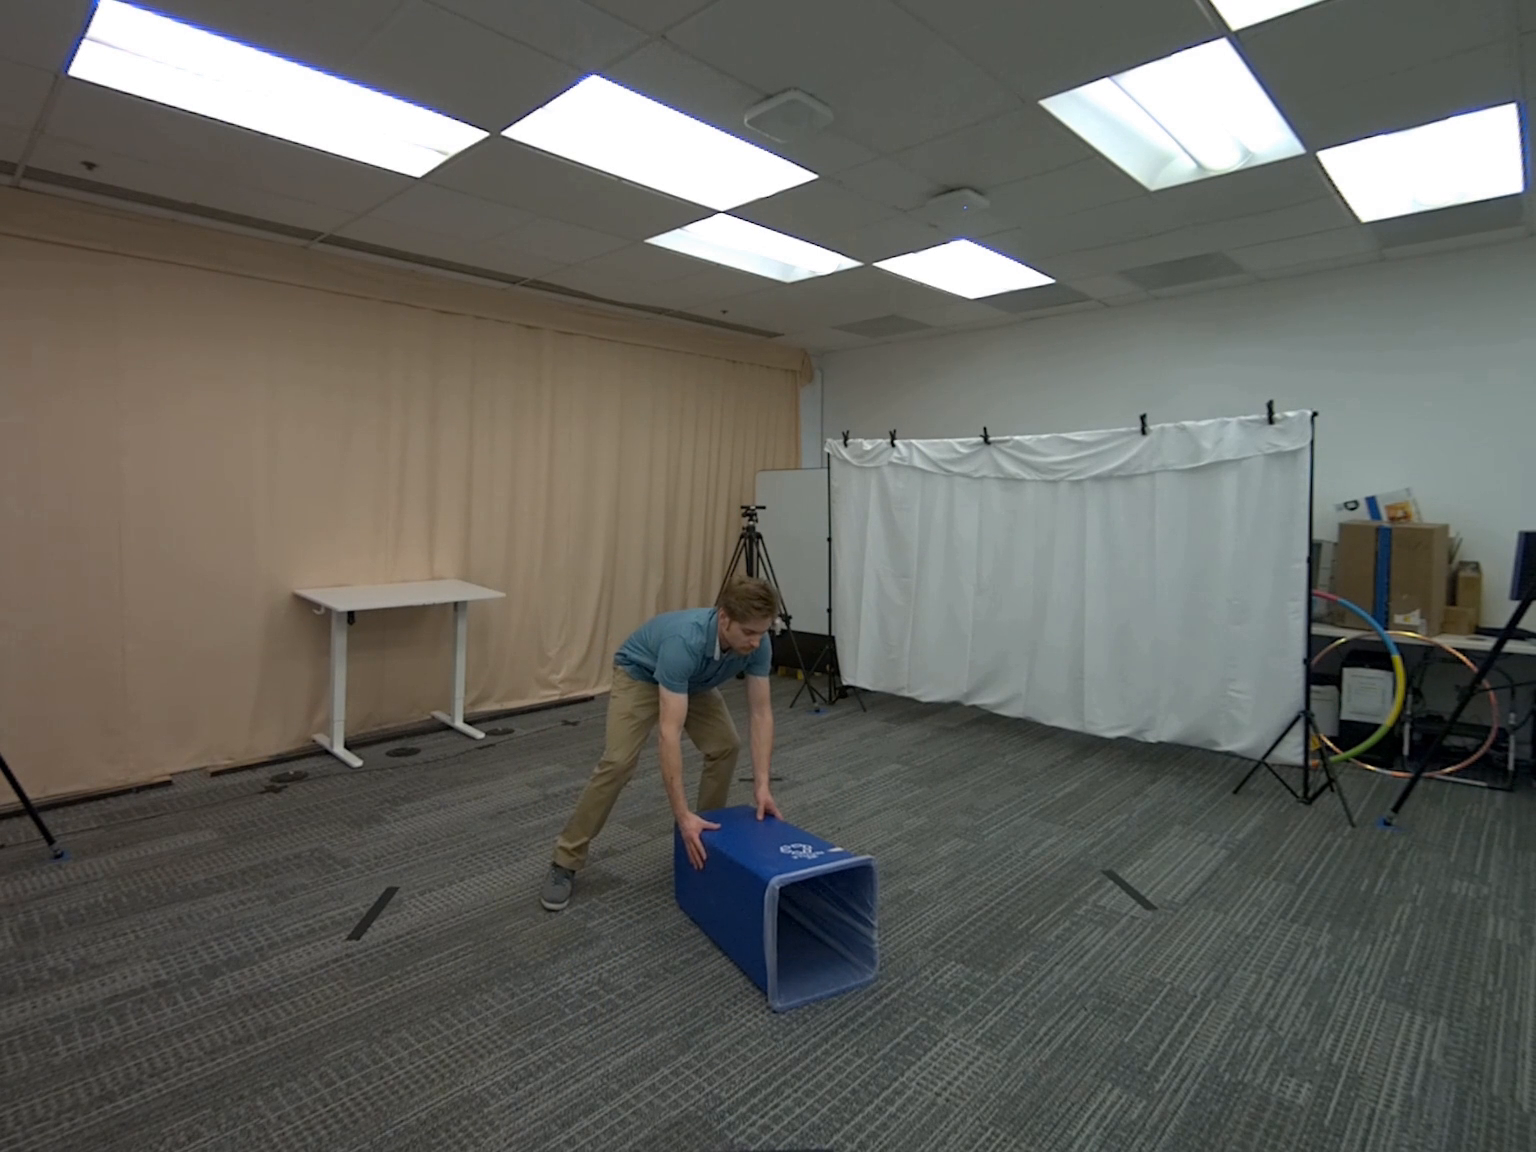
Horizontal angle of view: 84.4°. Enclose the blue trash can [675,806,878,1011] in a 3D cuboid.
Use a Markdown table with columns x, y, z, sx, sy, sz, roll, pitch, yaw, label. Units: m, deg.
| x | y | z | sx | sy | sz | roll | pitch | yaw | label |
| --- | --- | --- | --- | --- | --- | --- | --- | --- | --- |
| -0.013 | 1.003 | 2.687 | 0.364 | 0.378 | 0.733 | -2 | 2 | -30 | blue trash can |
